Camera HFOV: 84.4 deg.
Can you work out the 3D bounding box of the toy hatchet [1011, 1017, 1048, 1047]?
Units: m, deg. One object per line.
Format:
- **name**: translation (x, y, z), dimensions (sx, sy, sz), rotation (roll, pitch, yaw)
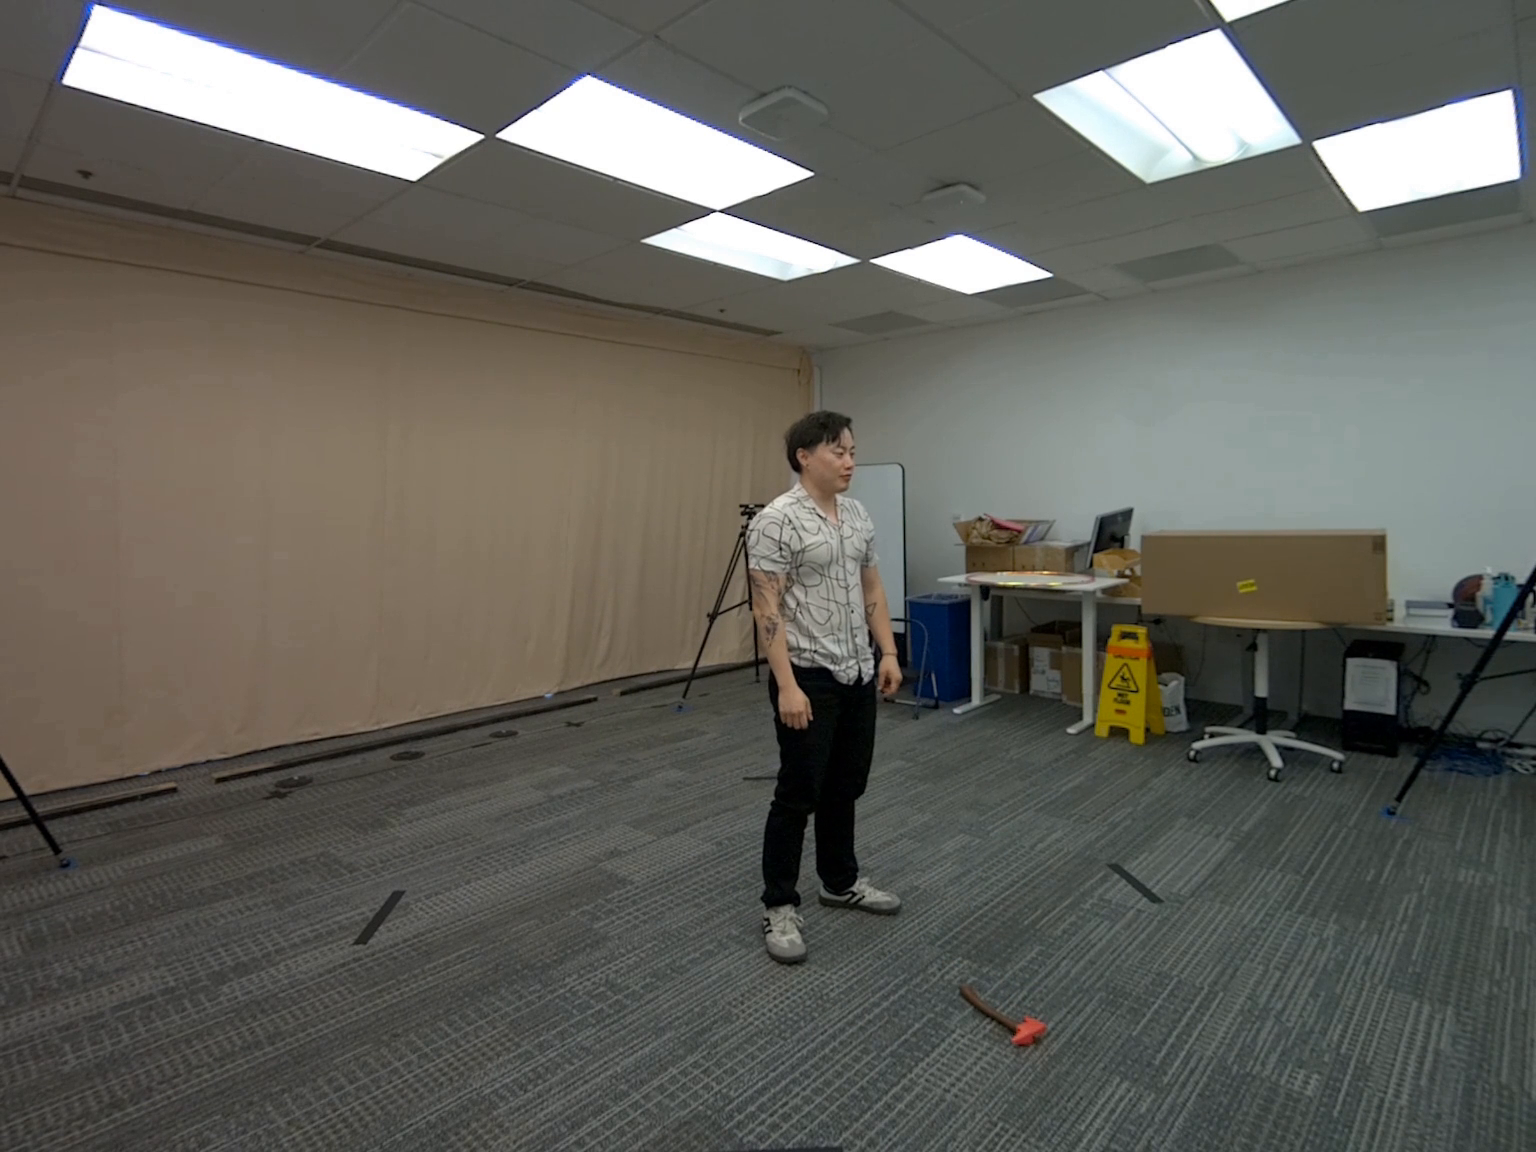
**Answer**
- **toy hatchet**: translation (0.654, 1.182, 2.272), dimensions (0.129, 0.029, 0.275), rotation (-3, 4, -18)
